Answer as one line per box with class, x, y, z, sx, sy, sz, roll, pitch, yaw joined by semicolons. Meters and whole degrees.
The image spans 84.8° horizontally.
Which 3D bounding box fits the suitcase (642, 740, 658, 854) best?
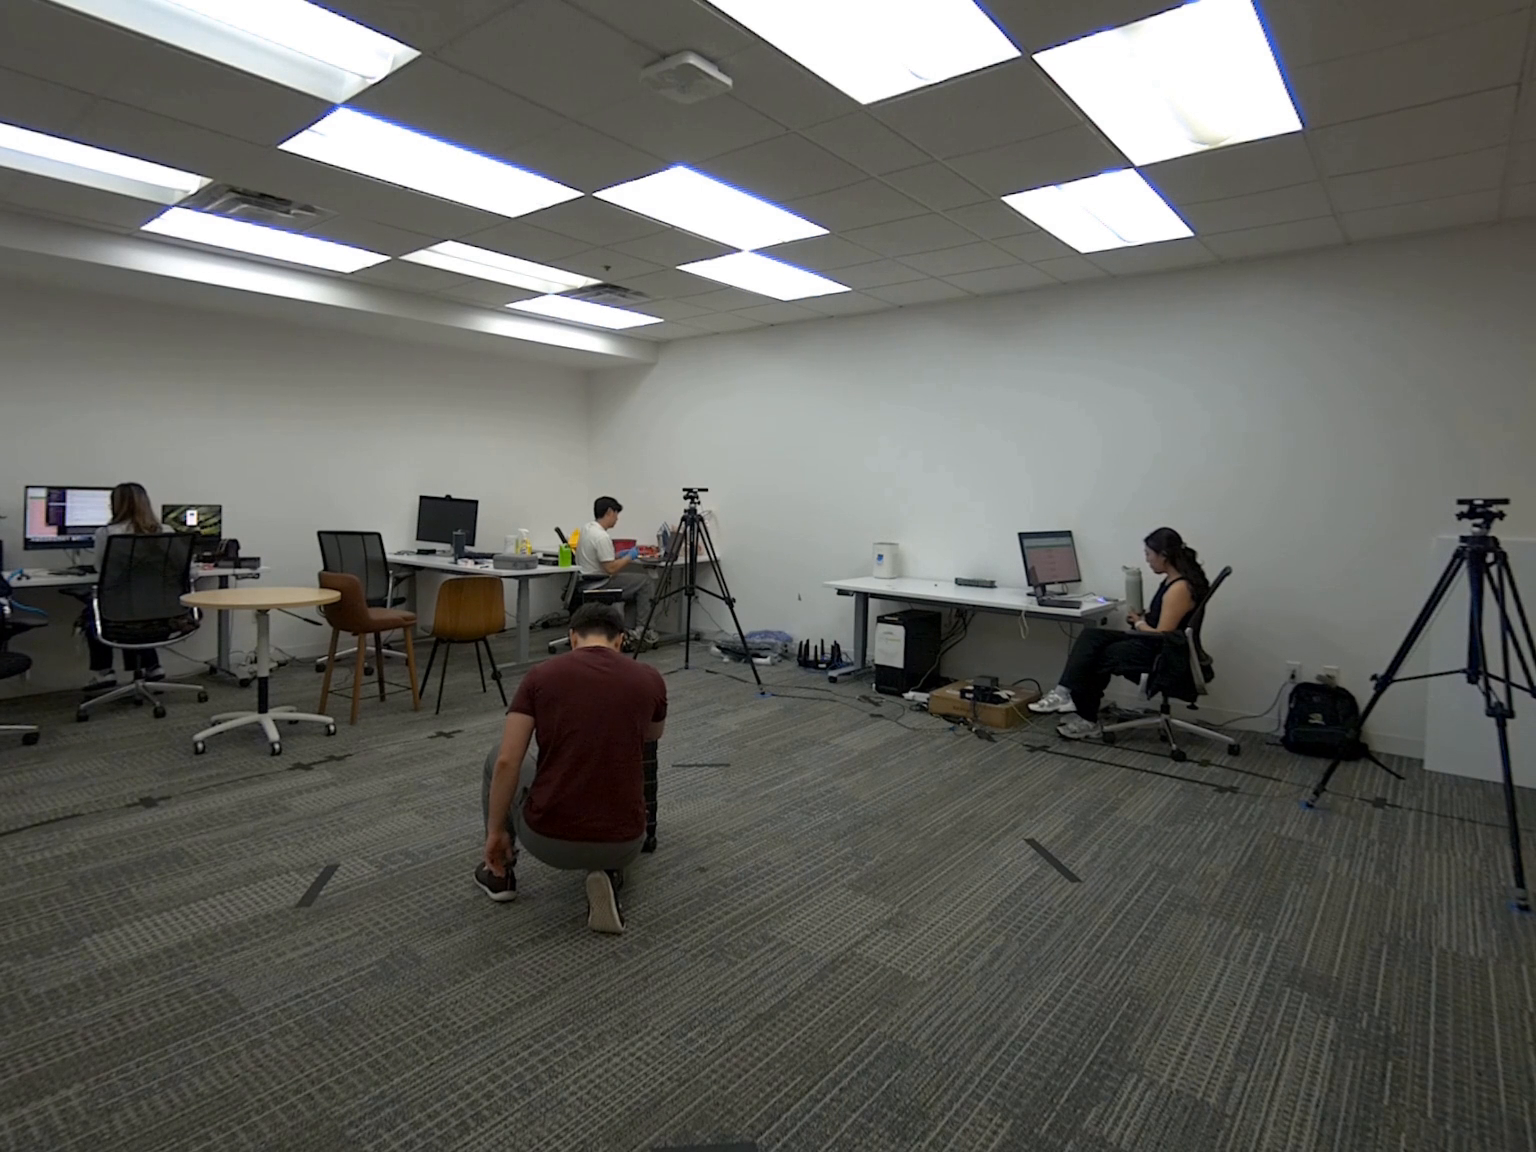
suitcase;-0.622;0.562;3.297;0.376;0.975;0.263;-1;4;-21
